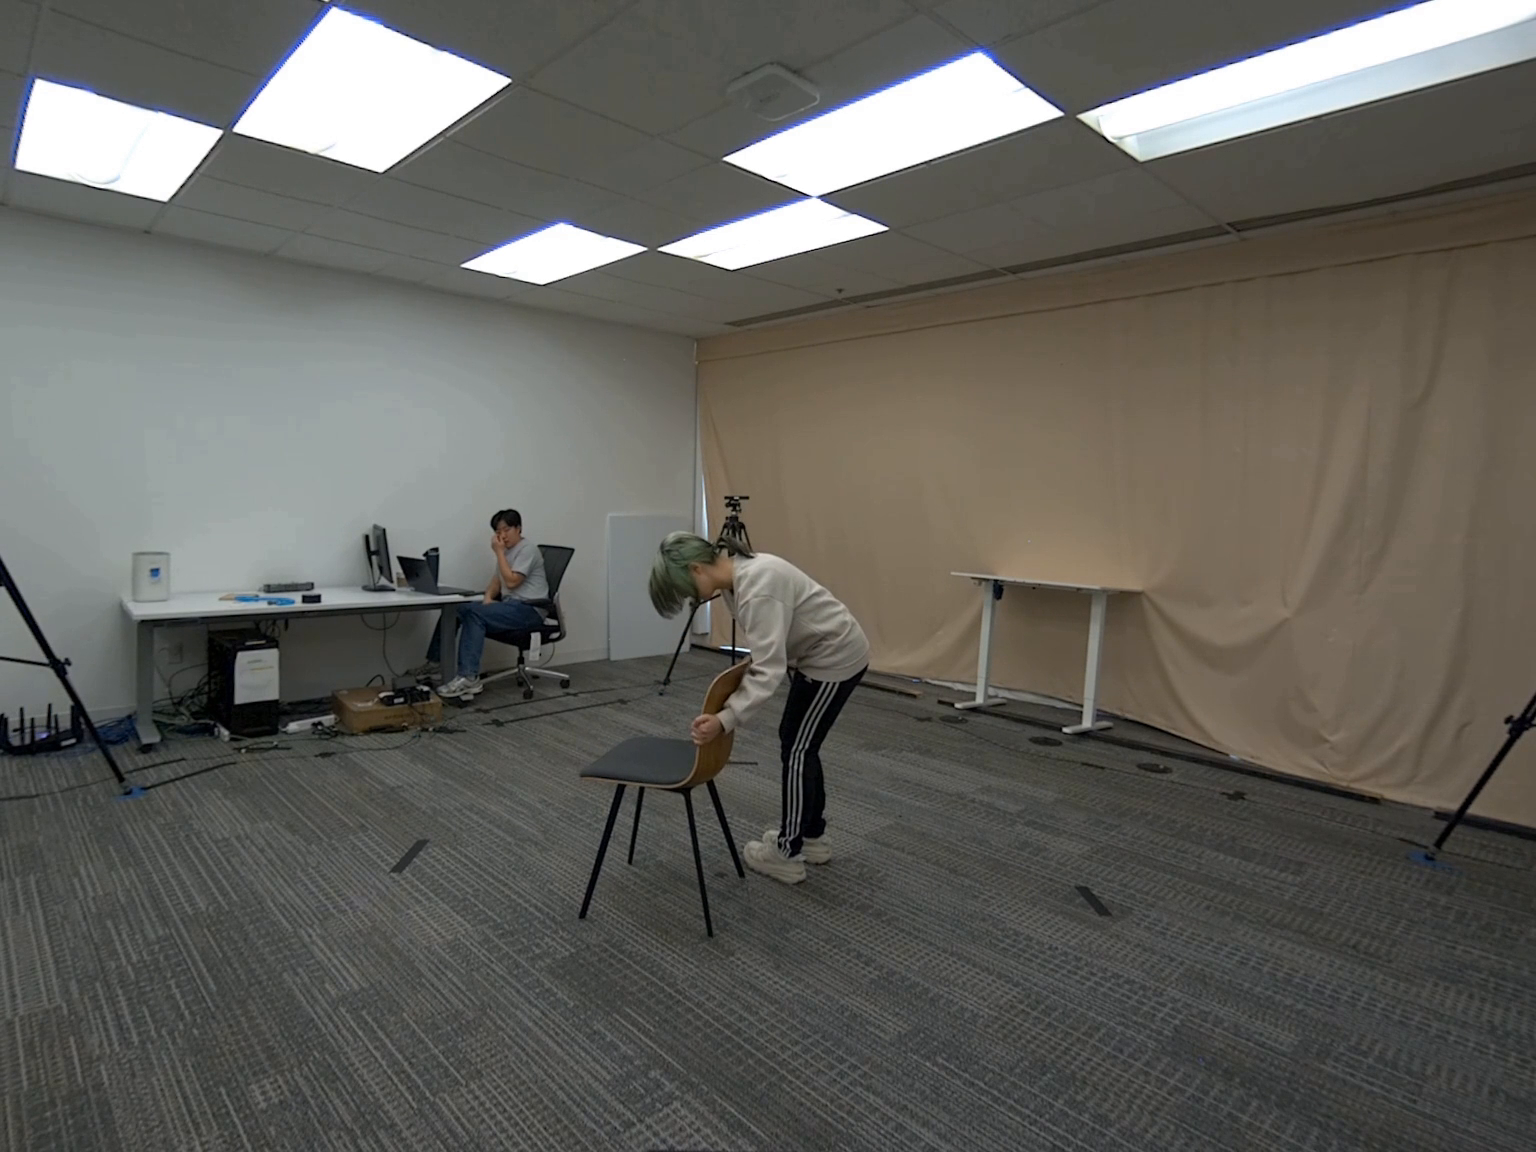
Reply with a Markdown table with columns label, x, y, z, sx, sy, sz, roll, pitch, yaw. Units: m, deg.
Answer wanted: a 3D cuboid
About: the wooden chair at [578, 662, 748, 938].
| label | x | y | z | sx | sy | sz | roll | pitch | yaw |
| --- | --- | --- | --- | --- | --- | --- | --- | --- | --- |
| wooden chair | -0.363 | 0.688 | 2.885 | 0.529 | 0.874 | 0.474 | 5 | 5 | 13 |
